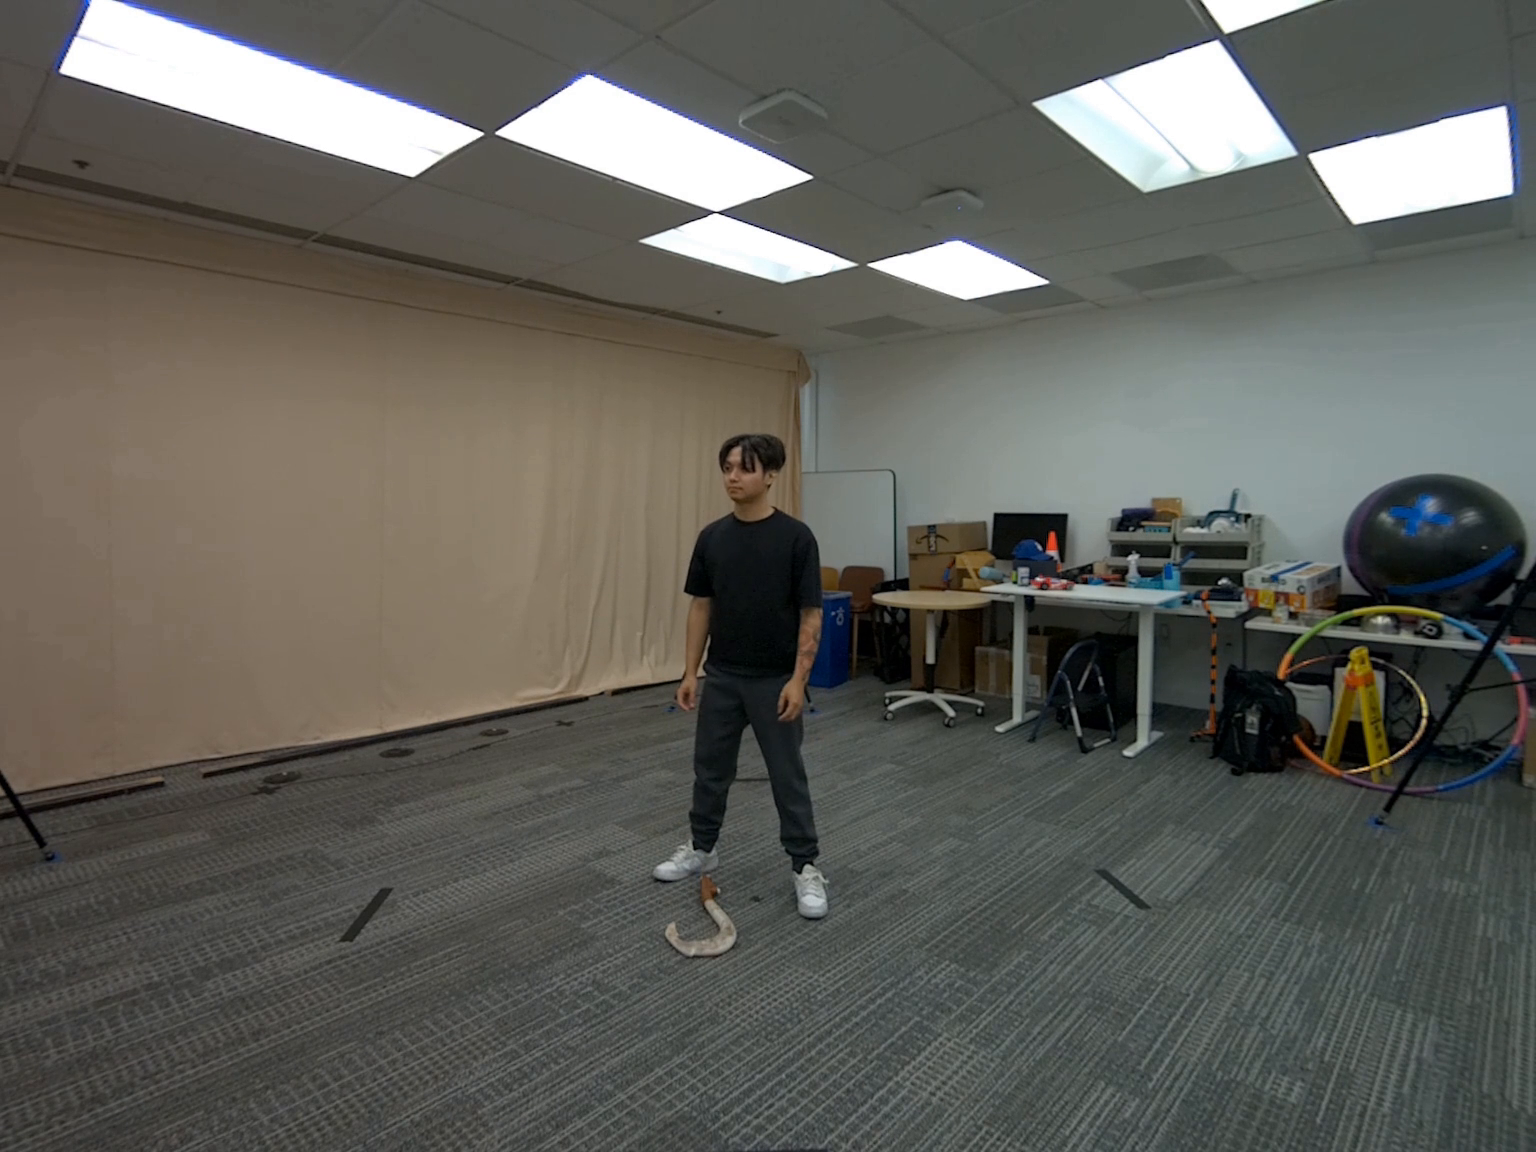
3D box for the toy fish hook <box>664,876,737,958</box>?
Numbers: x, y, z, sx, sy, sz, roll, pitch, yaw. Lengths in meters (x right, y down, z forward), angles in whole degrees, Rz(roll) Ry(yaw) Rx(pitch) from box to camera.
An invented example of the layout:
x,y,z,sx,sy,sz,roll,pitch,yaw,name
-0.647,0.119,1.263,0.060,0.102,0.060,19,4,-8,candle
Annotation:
x,y,z,sx,sy,sz,roll,pitch,yaw,name
-0.237,1.128,2.838,0.223,0.048,0.512,2,4,-9,toy fish hook
